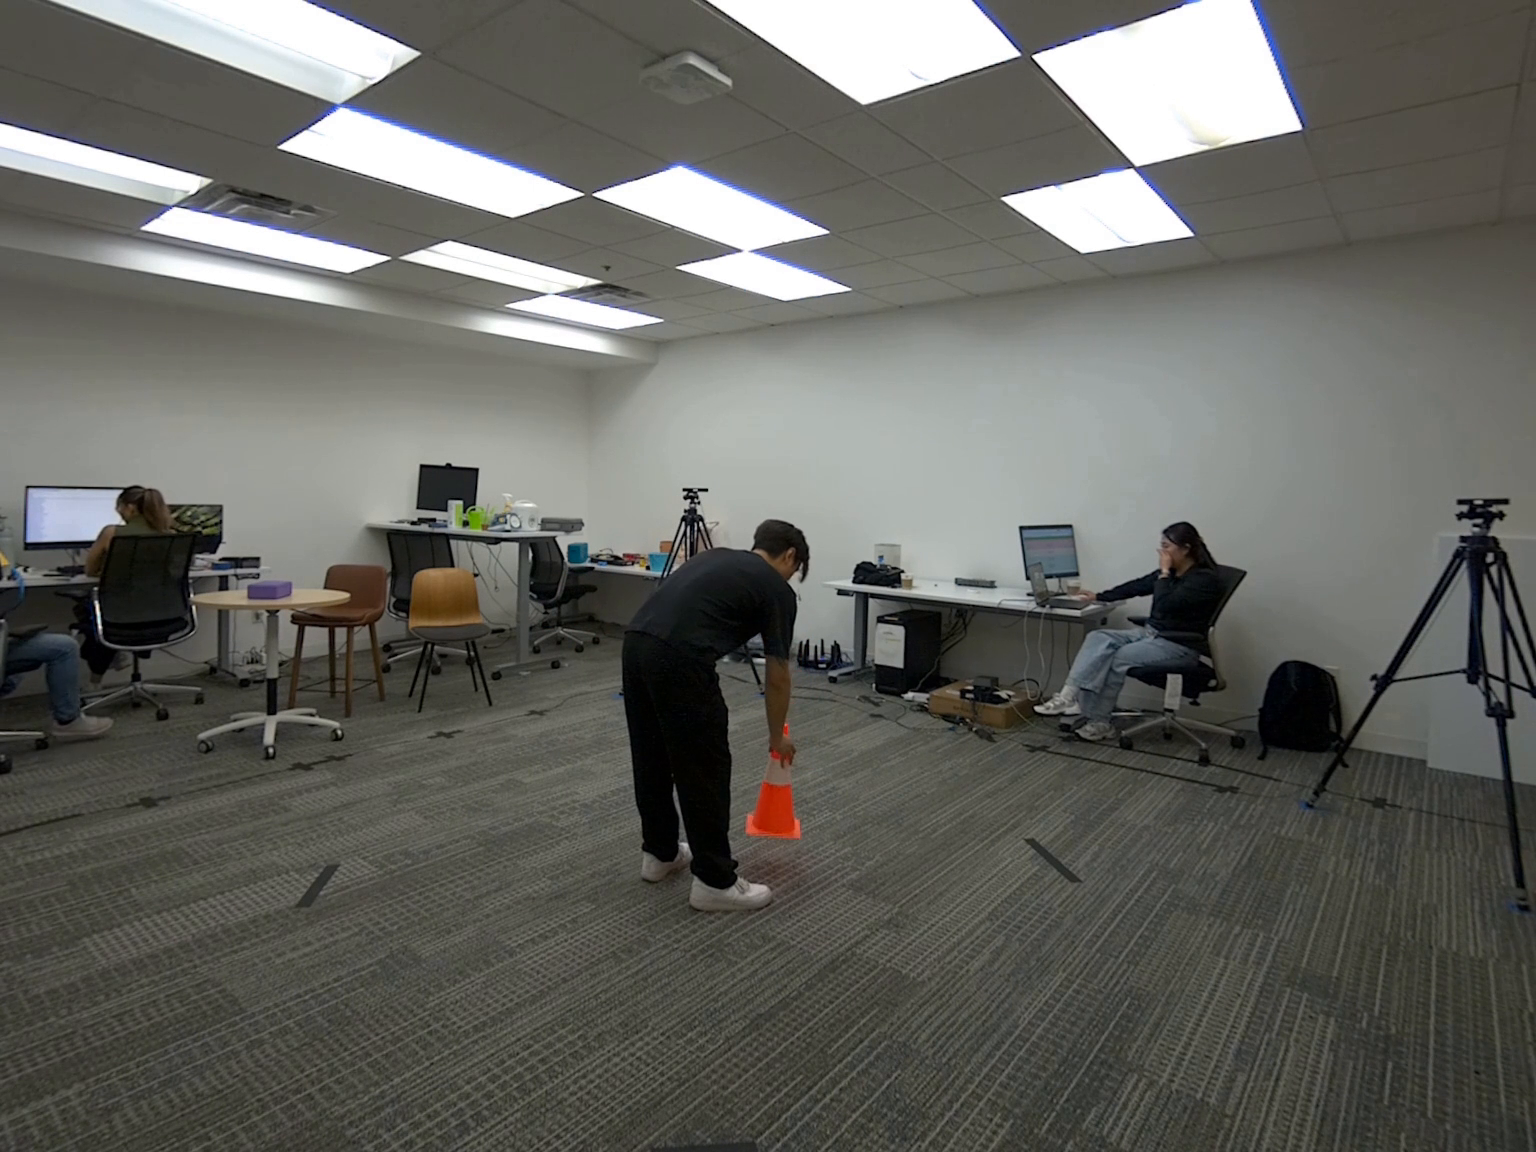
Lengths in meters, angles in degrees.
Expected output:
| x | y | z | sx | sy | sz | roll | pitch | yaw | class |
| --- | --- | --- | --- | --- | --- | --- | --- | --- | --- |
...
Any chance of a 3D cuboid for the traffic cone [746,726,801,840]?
| x | y | z | sx | sy | sz | roll | pitch | yaw | class |
| --- | --- | --- | --- | --- | --- | --- | --- | --- | --- |
| 0.035 | 0.733 | 3.128 | 0.206 | 0.383 | 0.202 | 7 | 2 | 12 | traffic cone |
